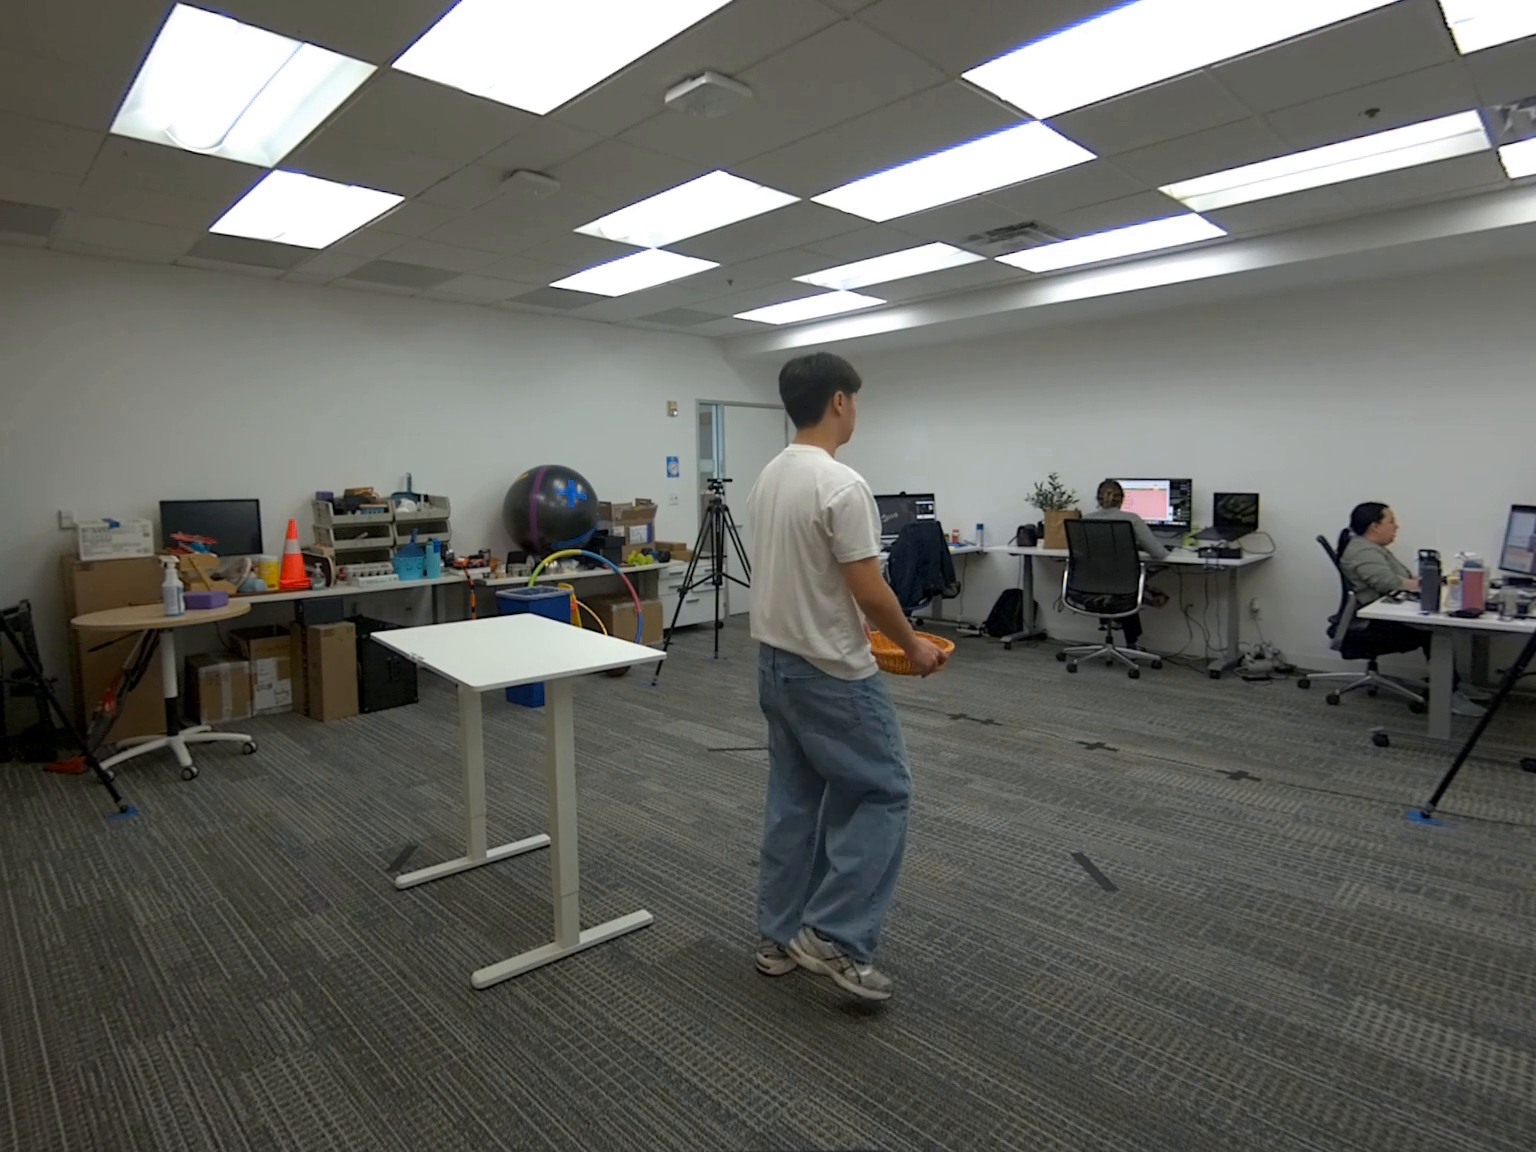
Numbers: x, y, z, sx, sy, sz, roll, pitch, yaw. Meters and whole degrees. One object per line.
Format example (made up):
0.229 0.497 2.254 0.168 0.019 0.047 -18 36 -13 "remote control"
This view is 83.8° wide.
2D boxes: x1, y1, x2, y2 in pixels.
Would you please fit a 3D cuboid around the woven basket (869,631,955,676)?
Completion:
0.398 0.235 2.530 0.248 0.073 0.359 -6 9 -24 "woven basket"
